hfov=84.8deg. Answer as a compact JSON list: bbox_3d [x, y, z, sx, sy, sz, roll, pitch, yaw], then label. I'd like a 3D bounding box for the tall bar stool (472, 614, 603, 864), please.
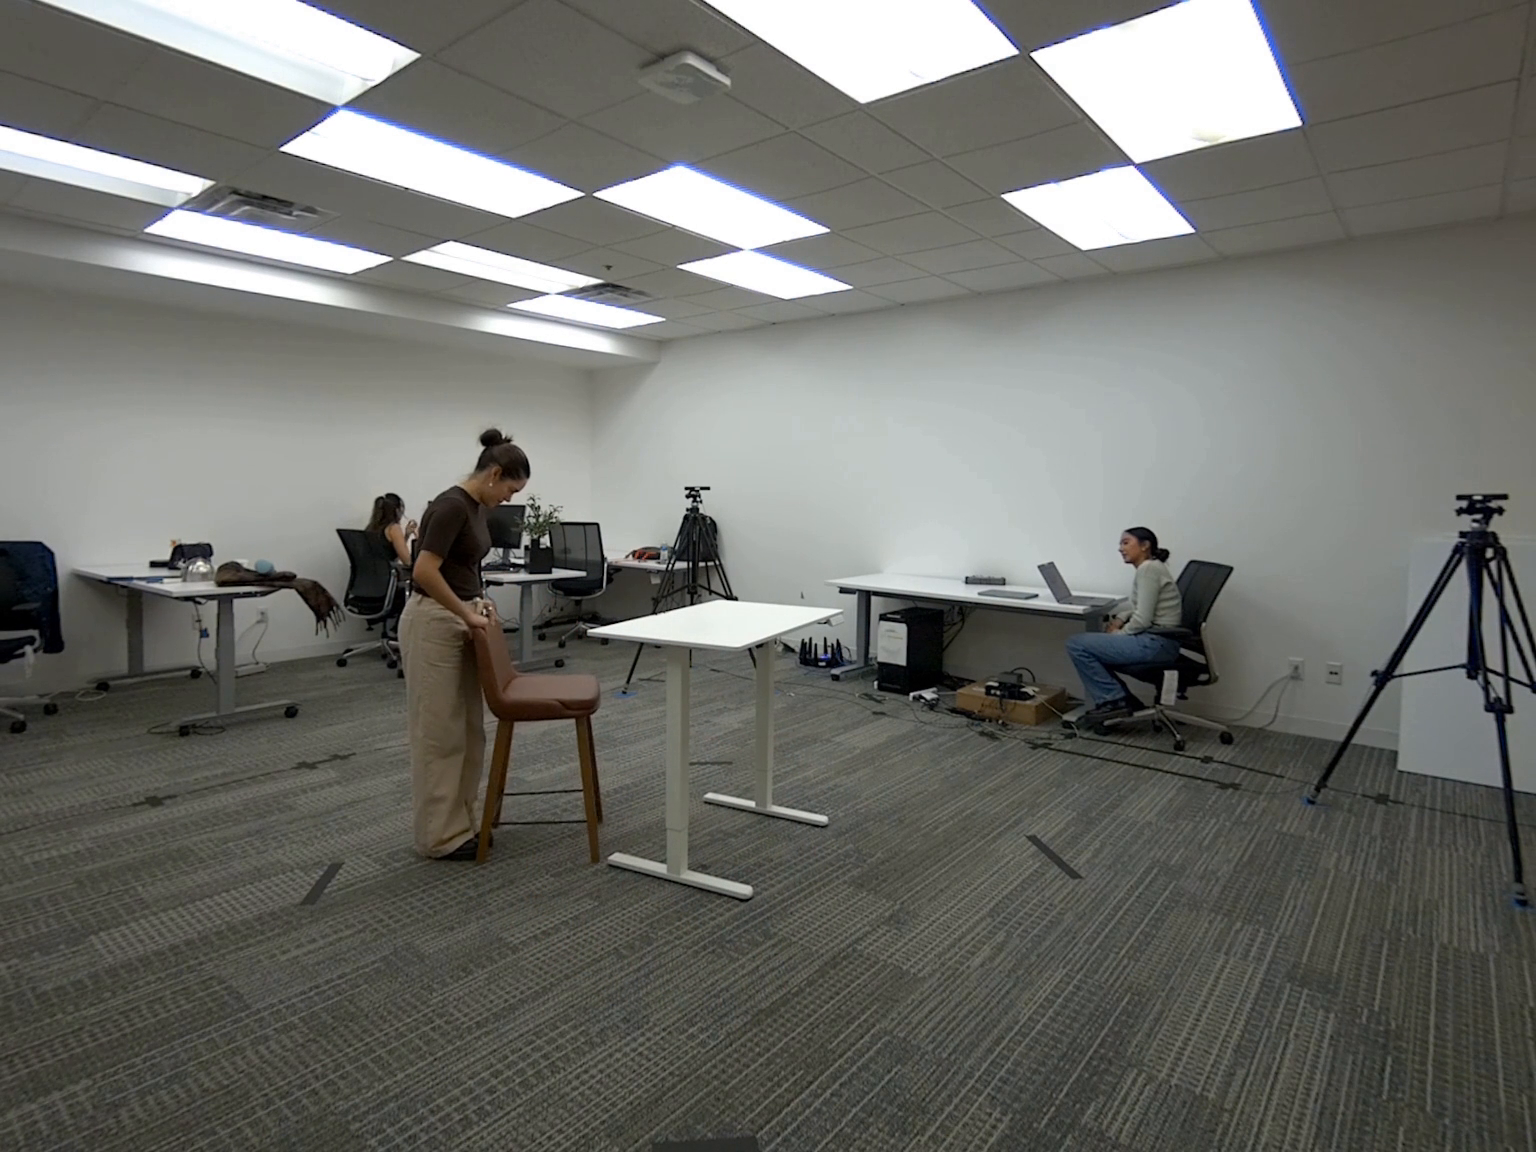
[{"bbox_3d":[-0.903,0.605,3.294,0.464,0.887,0.461,-3,3,-7],"label":"tall bar stool"}]
